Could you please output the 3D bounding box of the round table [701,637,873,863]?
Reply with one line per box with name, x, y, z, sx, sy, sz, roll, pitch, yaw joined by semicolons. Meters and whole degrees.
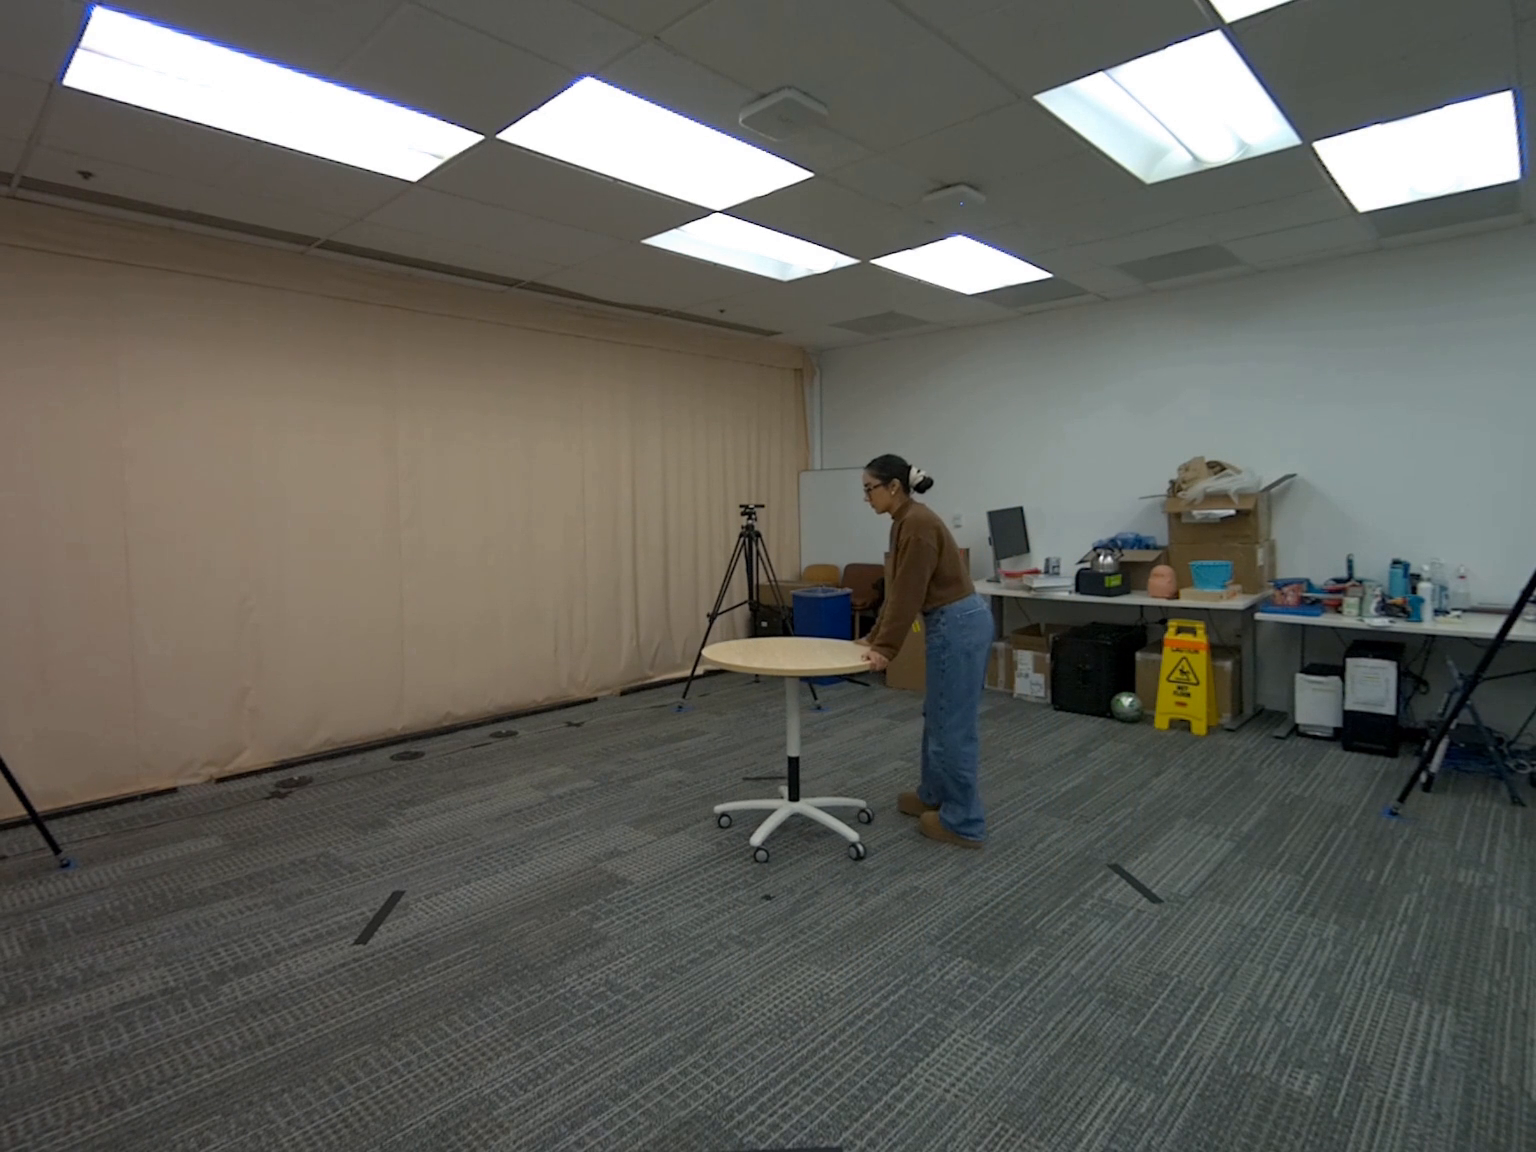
round table;0.117;0.708;3.551;0.763;0.792;0.766;-1;3;-2
